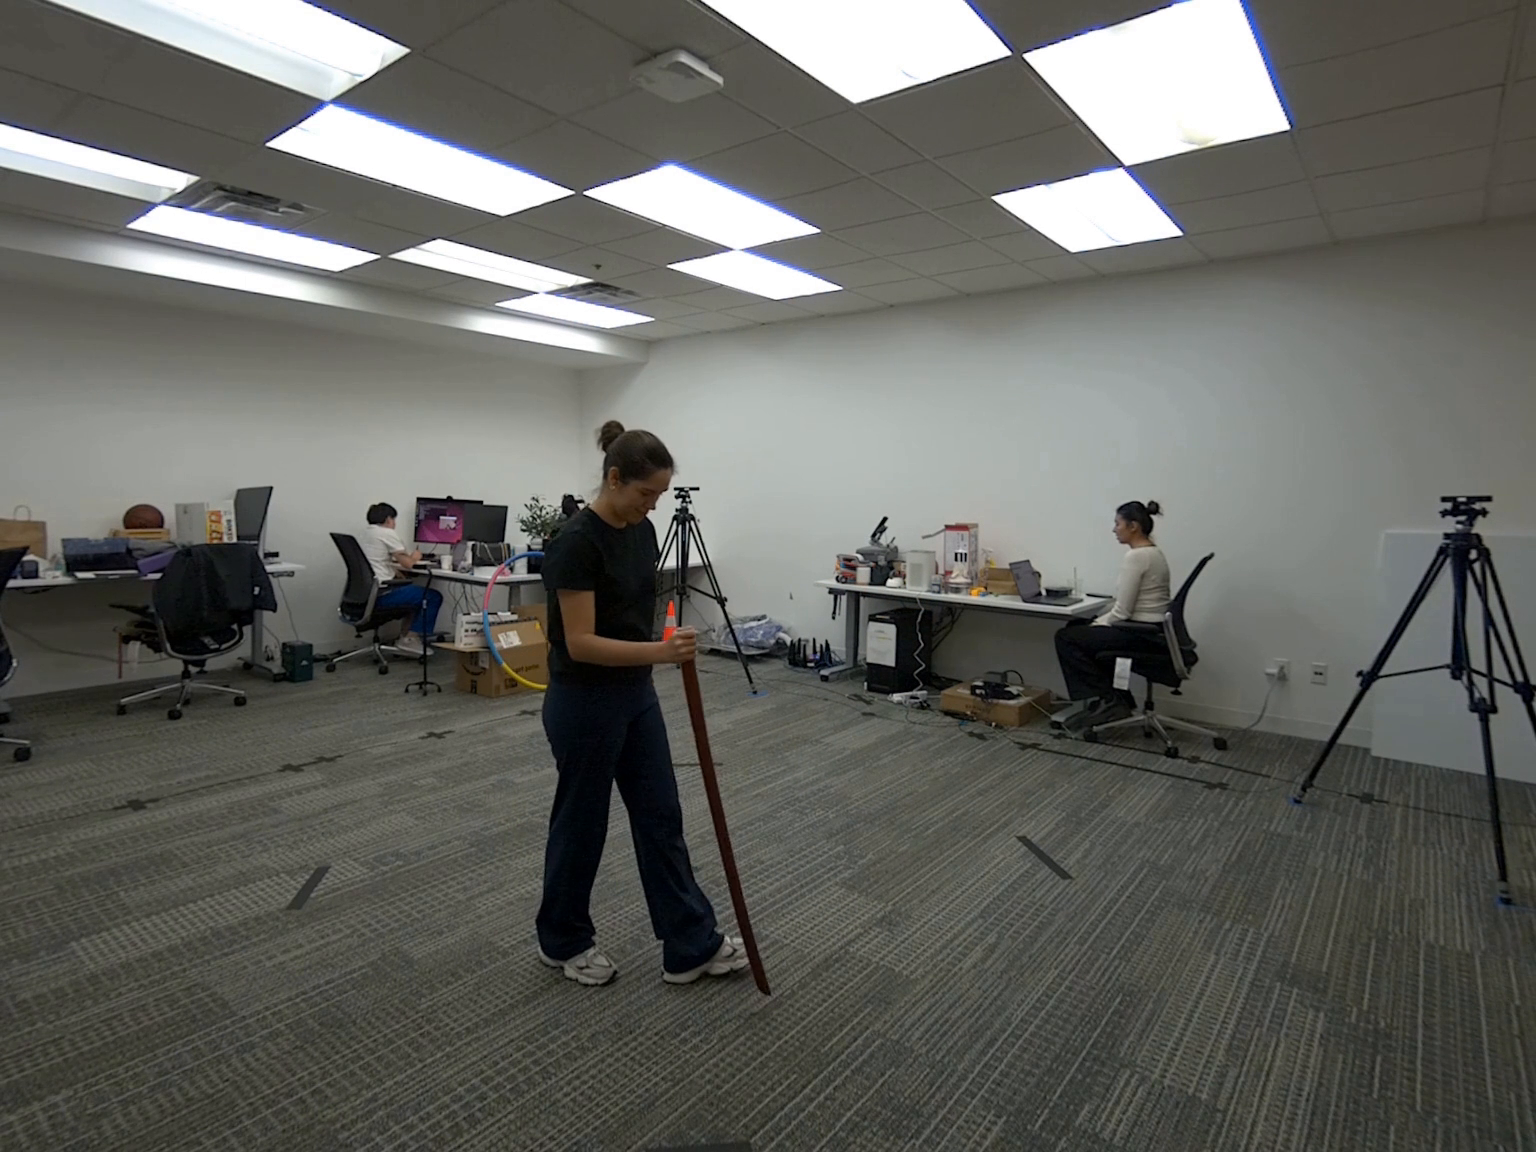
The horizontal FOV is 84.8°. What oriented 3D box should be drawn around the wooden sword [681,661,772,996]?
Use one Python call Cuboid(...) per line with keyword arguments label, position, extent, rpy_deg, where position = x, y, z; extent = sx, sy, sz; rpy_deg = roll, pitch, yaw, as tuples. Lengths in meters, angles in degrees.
Cuboid(label="wooden sword", position=(-0.128, 0.651, 2.221), extent=(0.052, 1.018, 0.024), rpy_deg=(-12, 6, 18))
